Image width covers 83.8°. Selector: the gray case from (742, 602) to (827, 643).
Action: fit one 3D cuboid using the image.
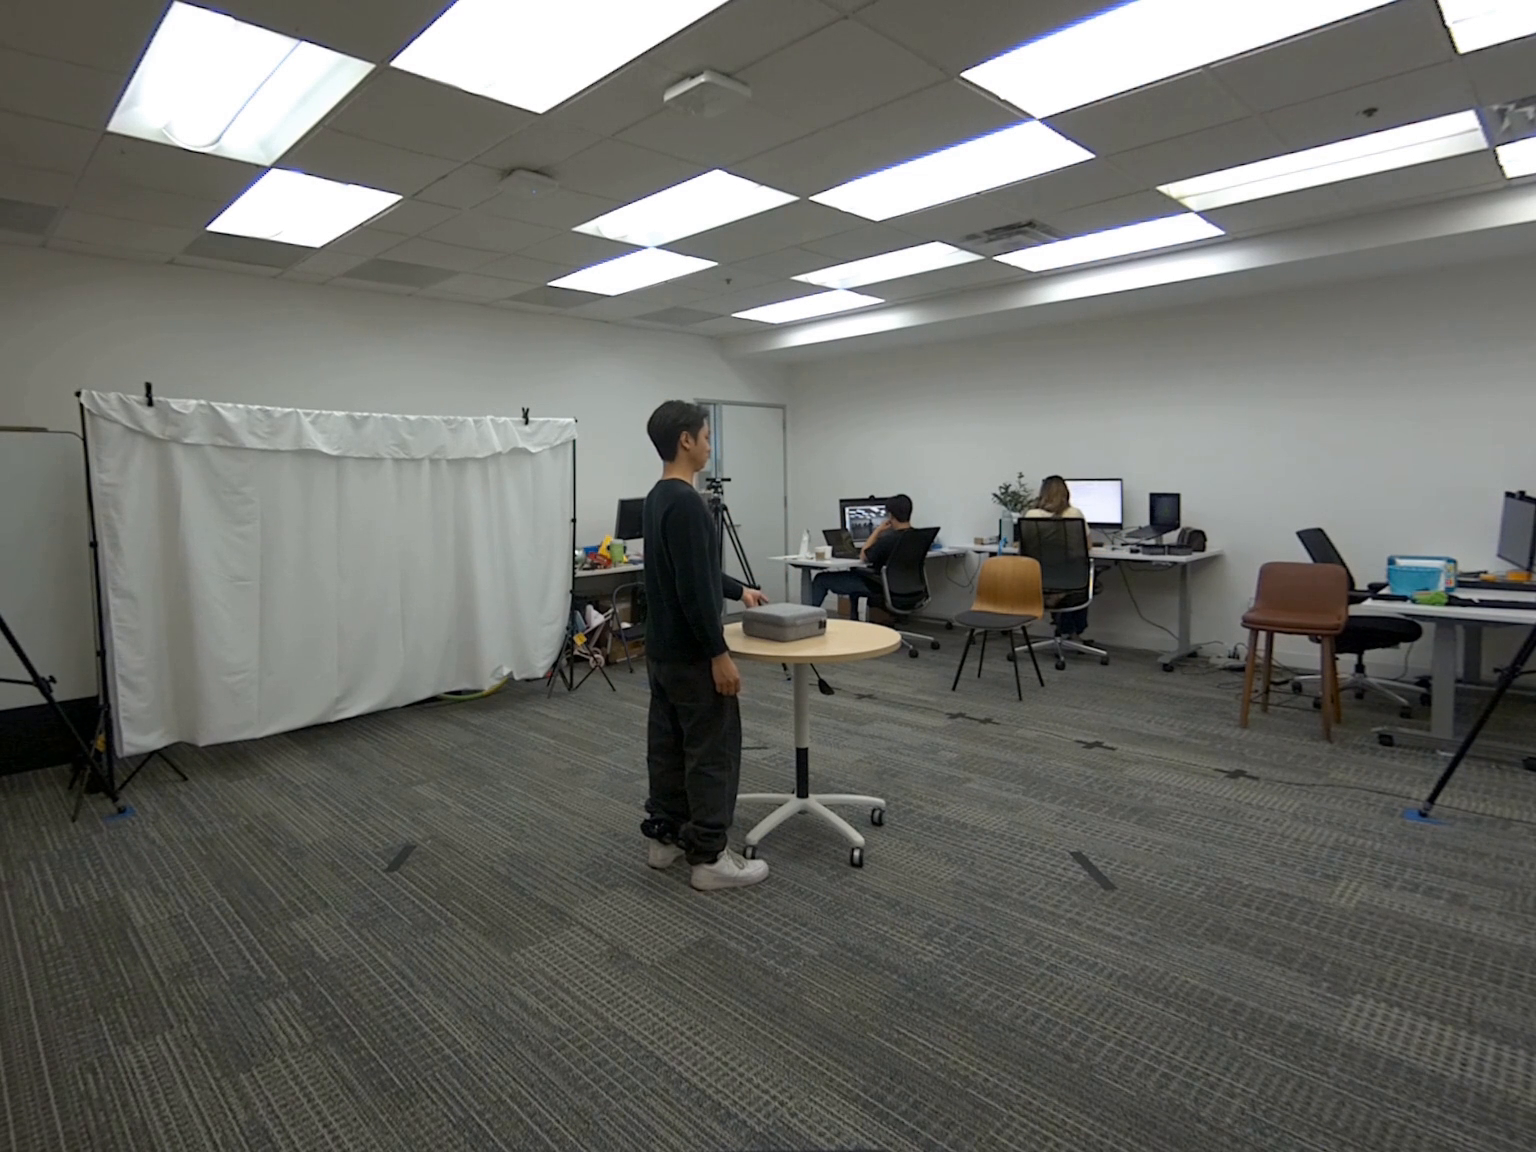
[{"bbox_3d":[0.060,0.174,3.327,0.250,0.104,0.269,-6,8,-41],"label":"gray case"}]
